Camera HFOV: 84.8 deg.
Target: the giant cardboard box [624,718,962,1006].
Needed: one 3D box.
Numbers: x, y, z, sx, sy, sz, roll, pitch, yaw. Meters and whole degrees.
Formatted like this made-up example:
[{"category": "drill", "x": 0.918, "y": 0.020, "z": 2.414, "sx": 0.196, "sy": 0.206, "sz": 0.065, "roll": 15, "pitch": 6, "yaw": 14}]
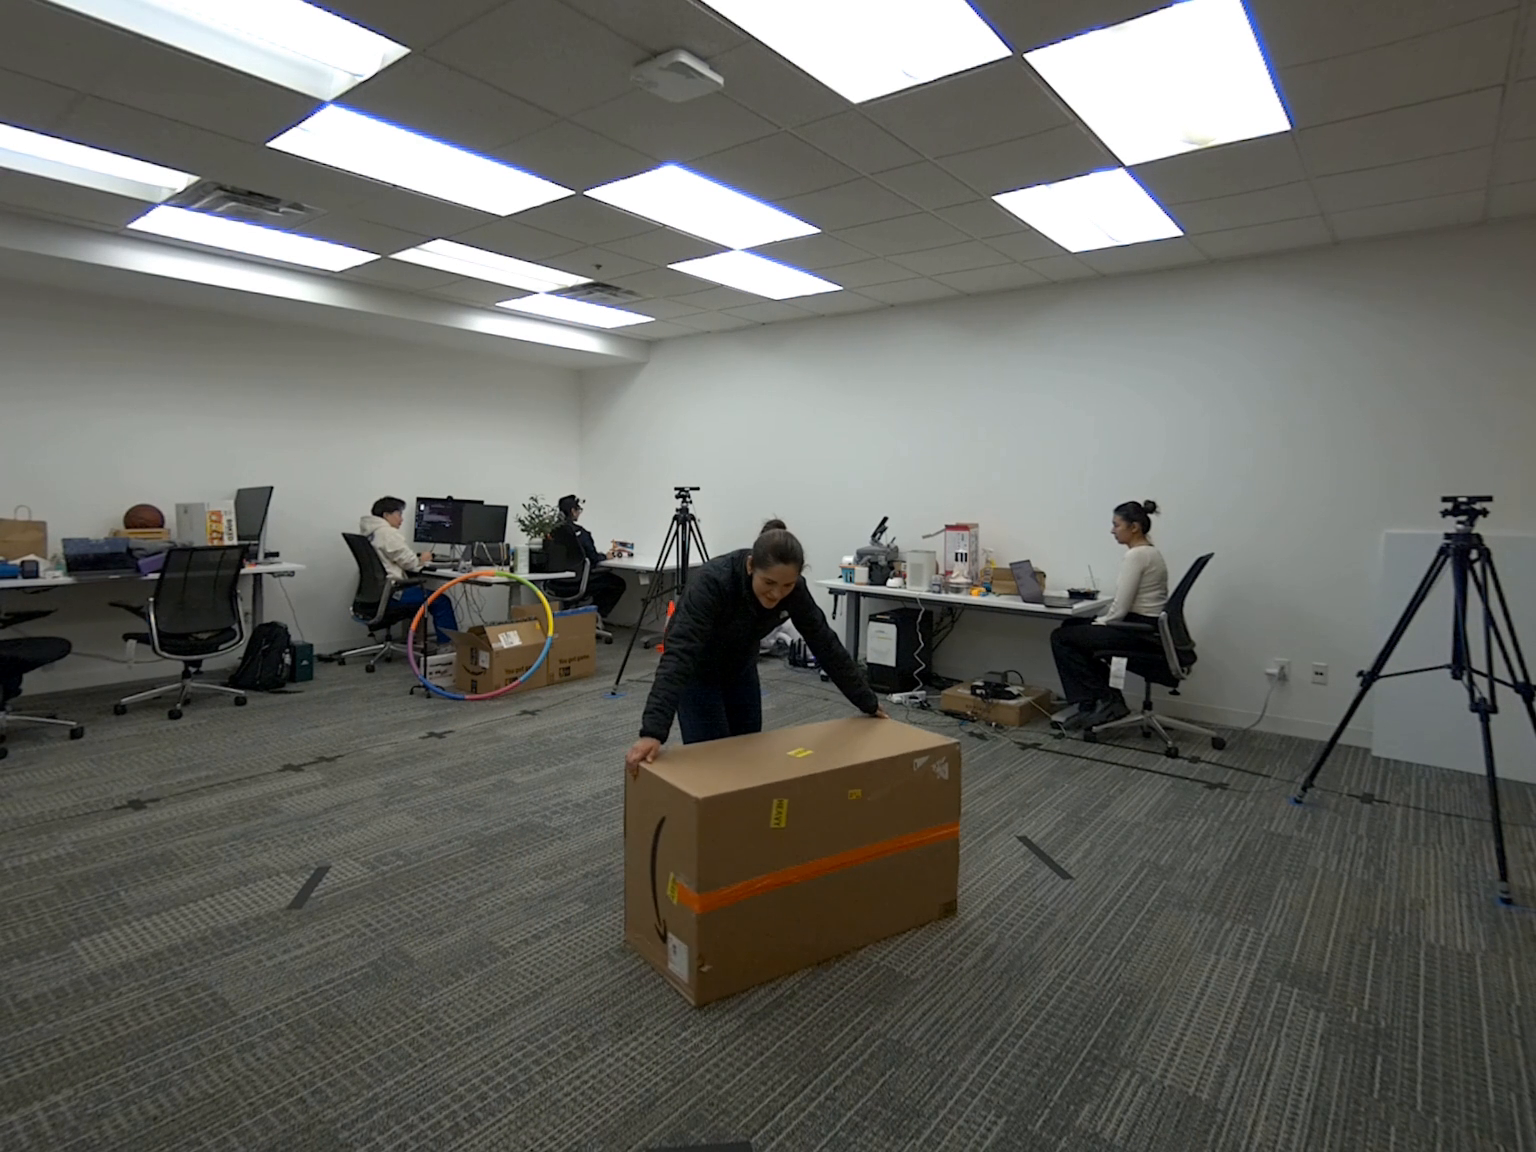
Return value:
[{"category": "giant cardboard box", "x": 0.106, "y": 0.824, "z": 2.700, "sx": 0.999, "sy": 0.581, "sz": 0.461, "roll": -3, "pitch": 6, "yaw": -33}]
